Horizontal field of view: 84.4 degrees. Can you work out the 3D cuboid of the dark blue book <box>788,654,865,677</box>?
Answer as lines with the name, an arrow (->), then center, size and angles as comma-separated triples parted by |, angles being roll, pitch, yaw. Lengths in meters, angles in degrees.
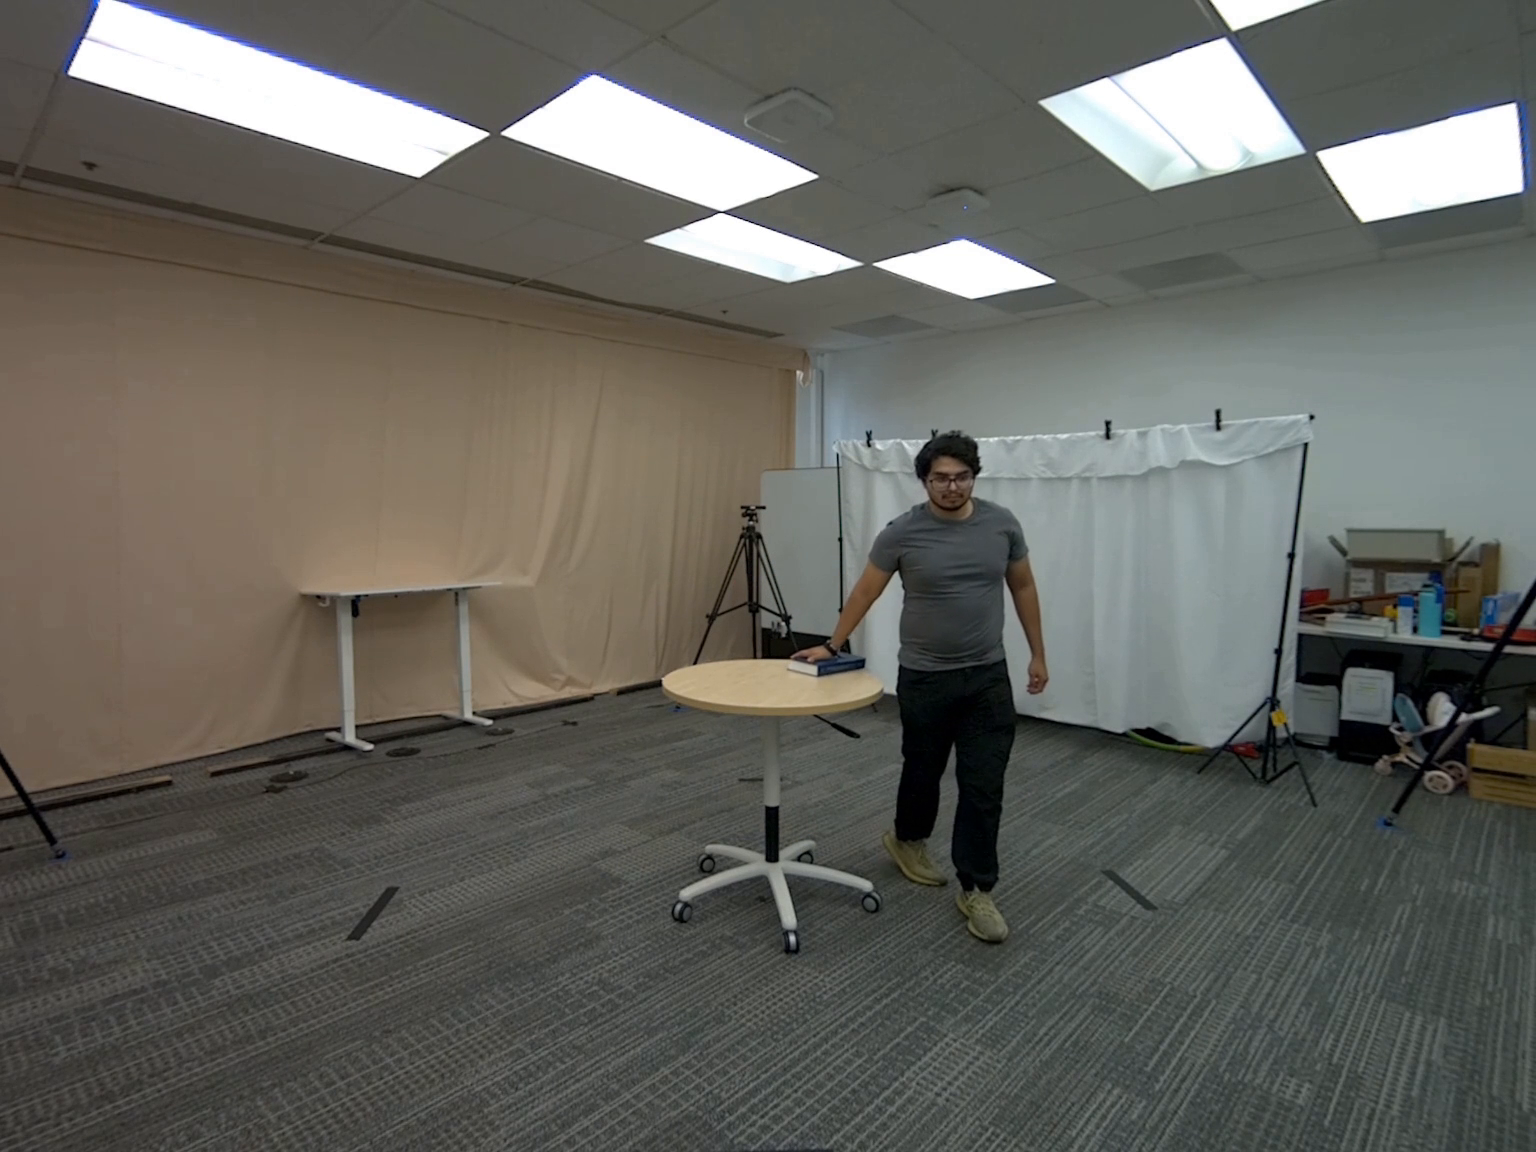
dark blue book -> 0.219, 0.329, 3.110 | 0.238, 0.045, 0.169 | -5, 7, -38
